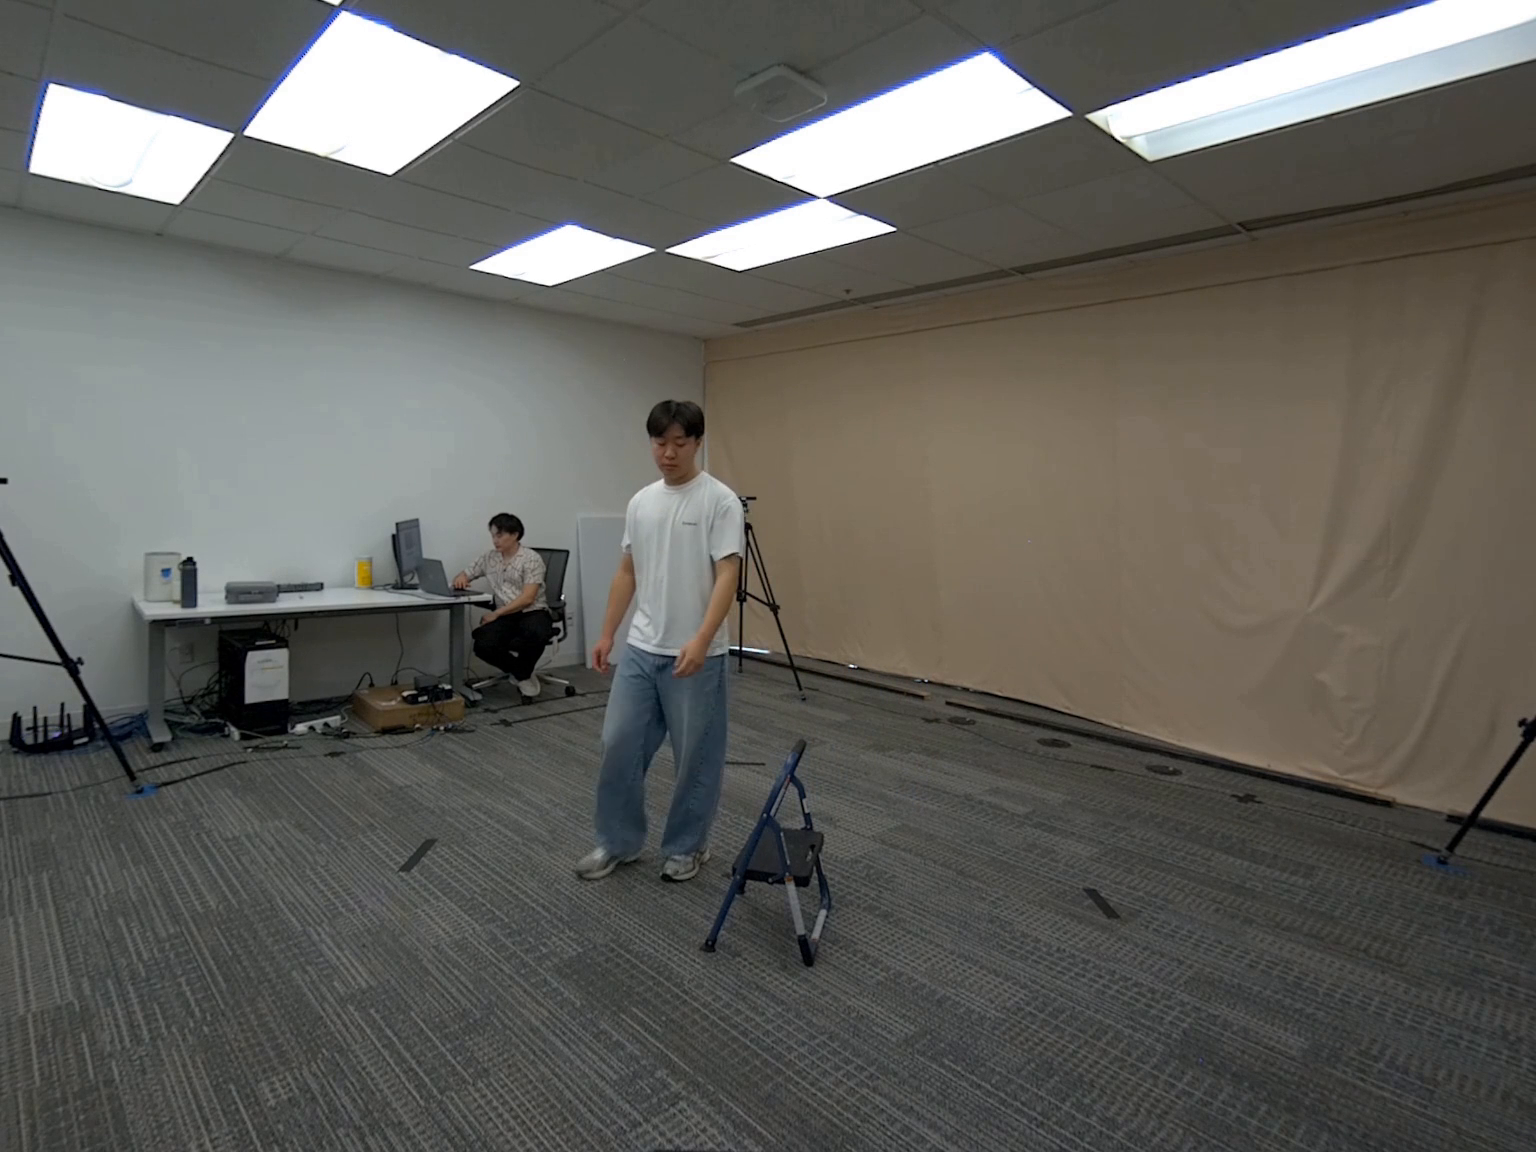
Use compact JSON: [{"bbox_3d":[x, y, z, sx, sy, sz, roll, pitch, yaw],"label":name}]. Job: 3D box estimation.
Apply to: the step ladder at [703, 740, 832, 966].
[{"bbox_3d":[0.015,0.841,2.721,0.353,0.604,0.427,3,4,12],"label":"step ladder"}]
